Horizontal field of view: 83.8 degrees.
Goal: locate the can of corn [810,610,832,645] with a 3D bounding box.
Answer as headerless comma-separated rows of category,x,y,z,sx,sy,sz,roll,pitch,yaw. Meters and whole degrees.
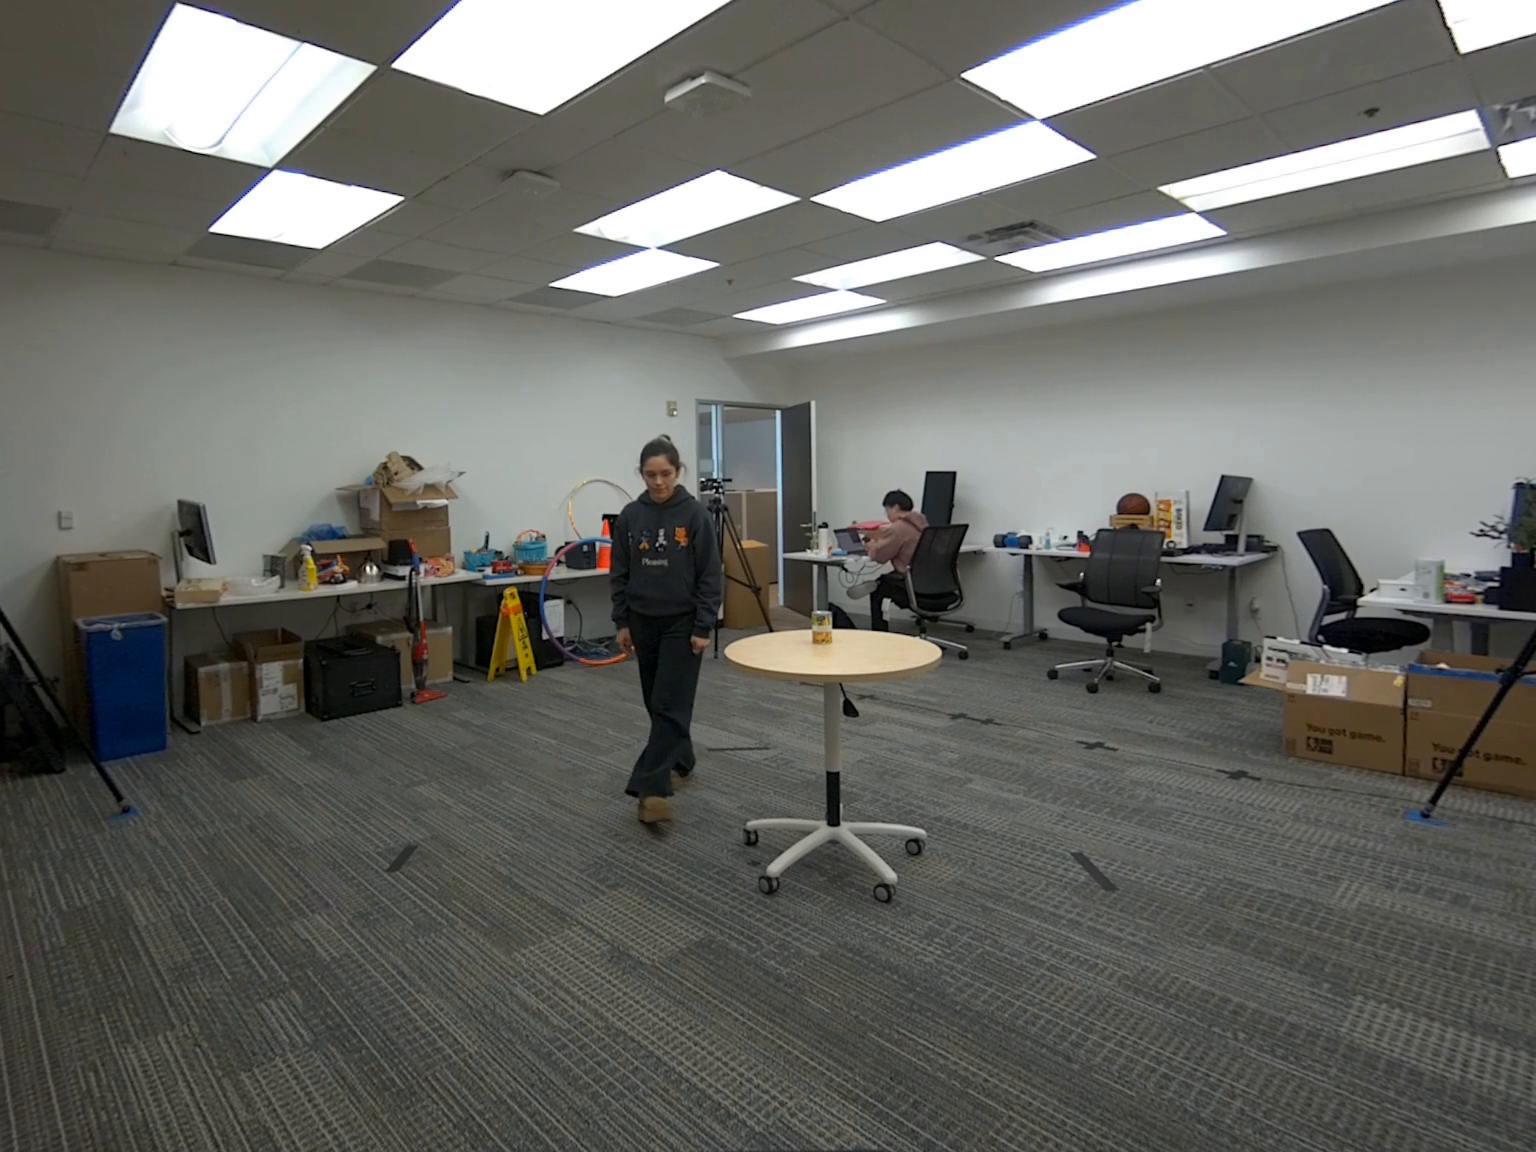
can of corn,0.210,0.192,3.170,0.074,0.110,0.075,0,7,-2
